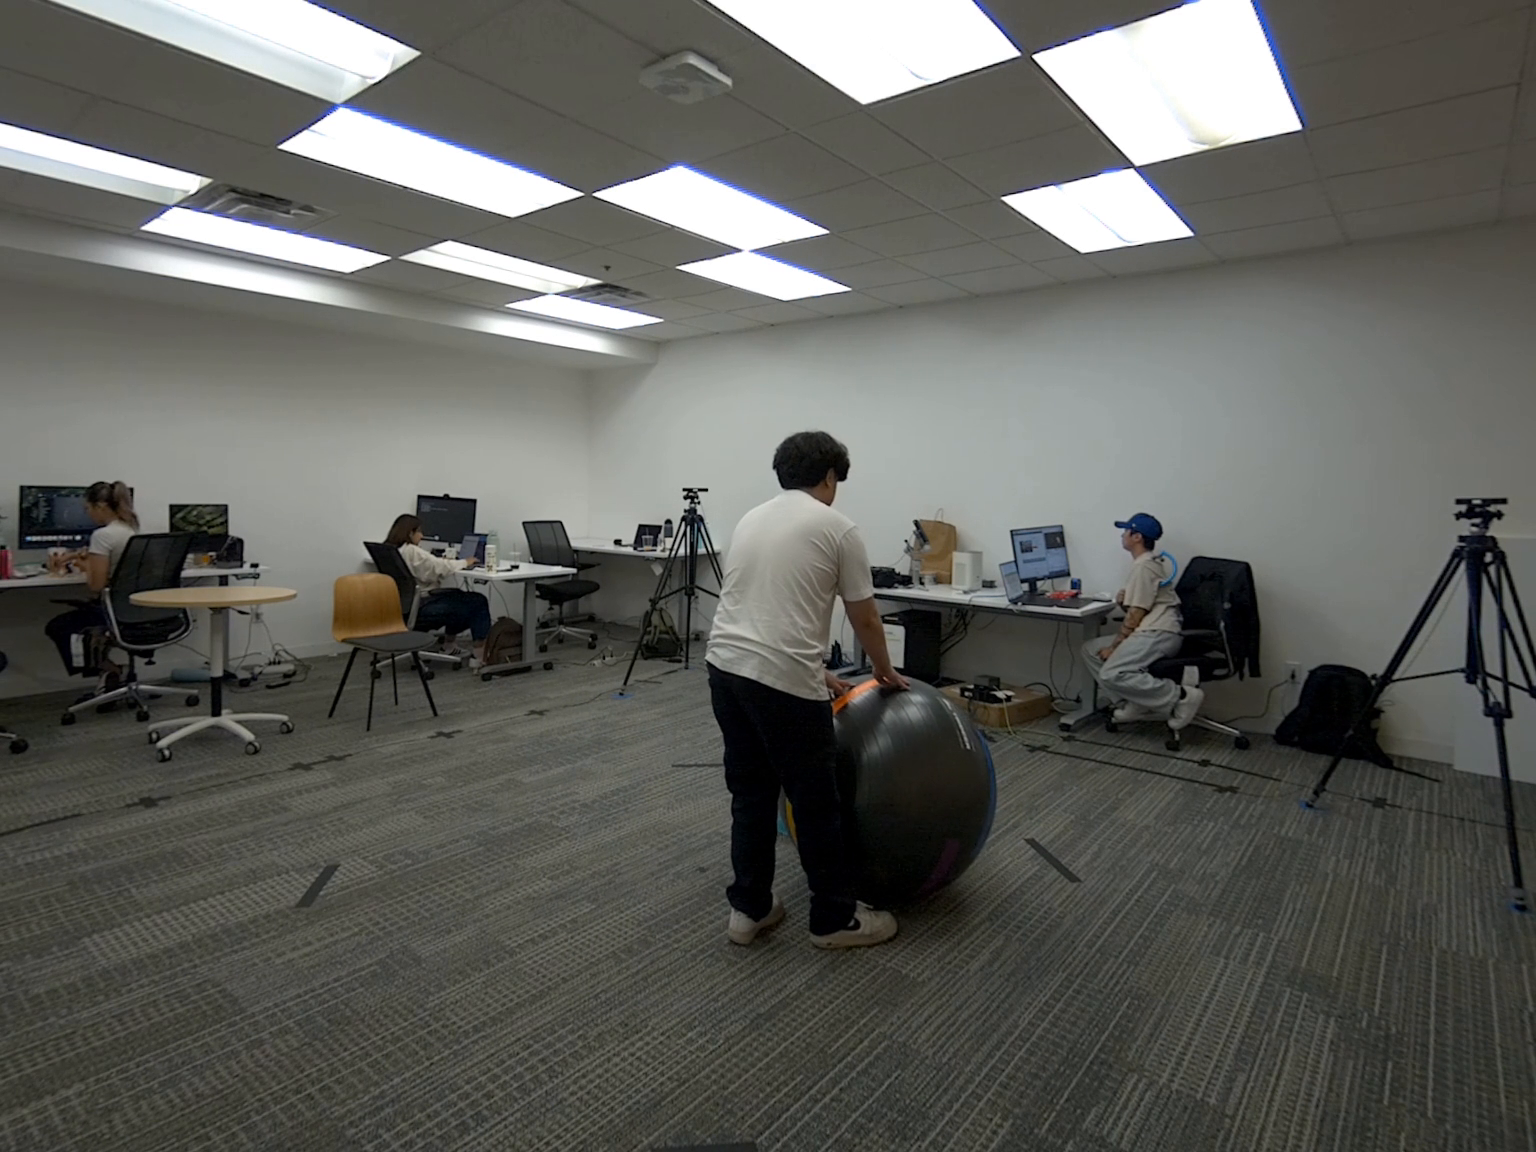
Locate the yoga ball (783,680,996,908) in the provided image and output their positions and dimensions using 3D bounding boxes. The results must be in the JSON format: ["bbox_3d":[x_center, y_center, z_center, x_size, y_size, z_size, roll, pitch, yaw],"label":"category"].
[{"bbox_3d":[0.416,0.734,2.993,0.757,0.755,0.762,1,4,-2],"label":"yoga ball"}]
